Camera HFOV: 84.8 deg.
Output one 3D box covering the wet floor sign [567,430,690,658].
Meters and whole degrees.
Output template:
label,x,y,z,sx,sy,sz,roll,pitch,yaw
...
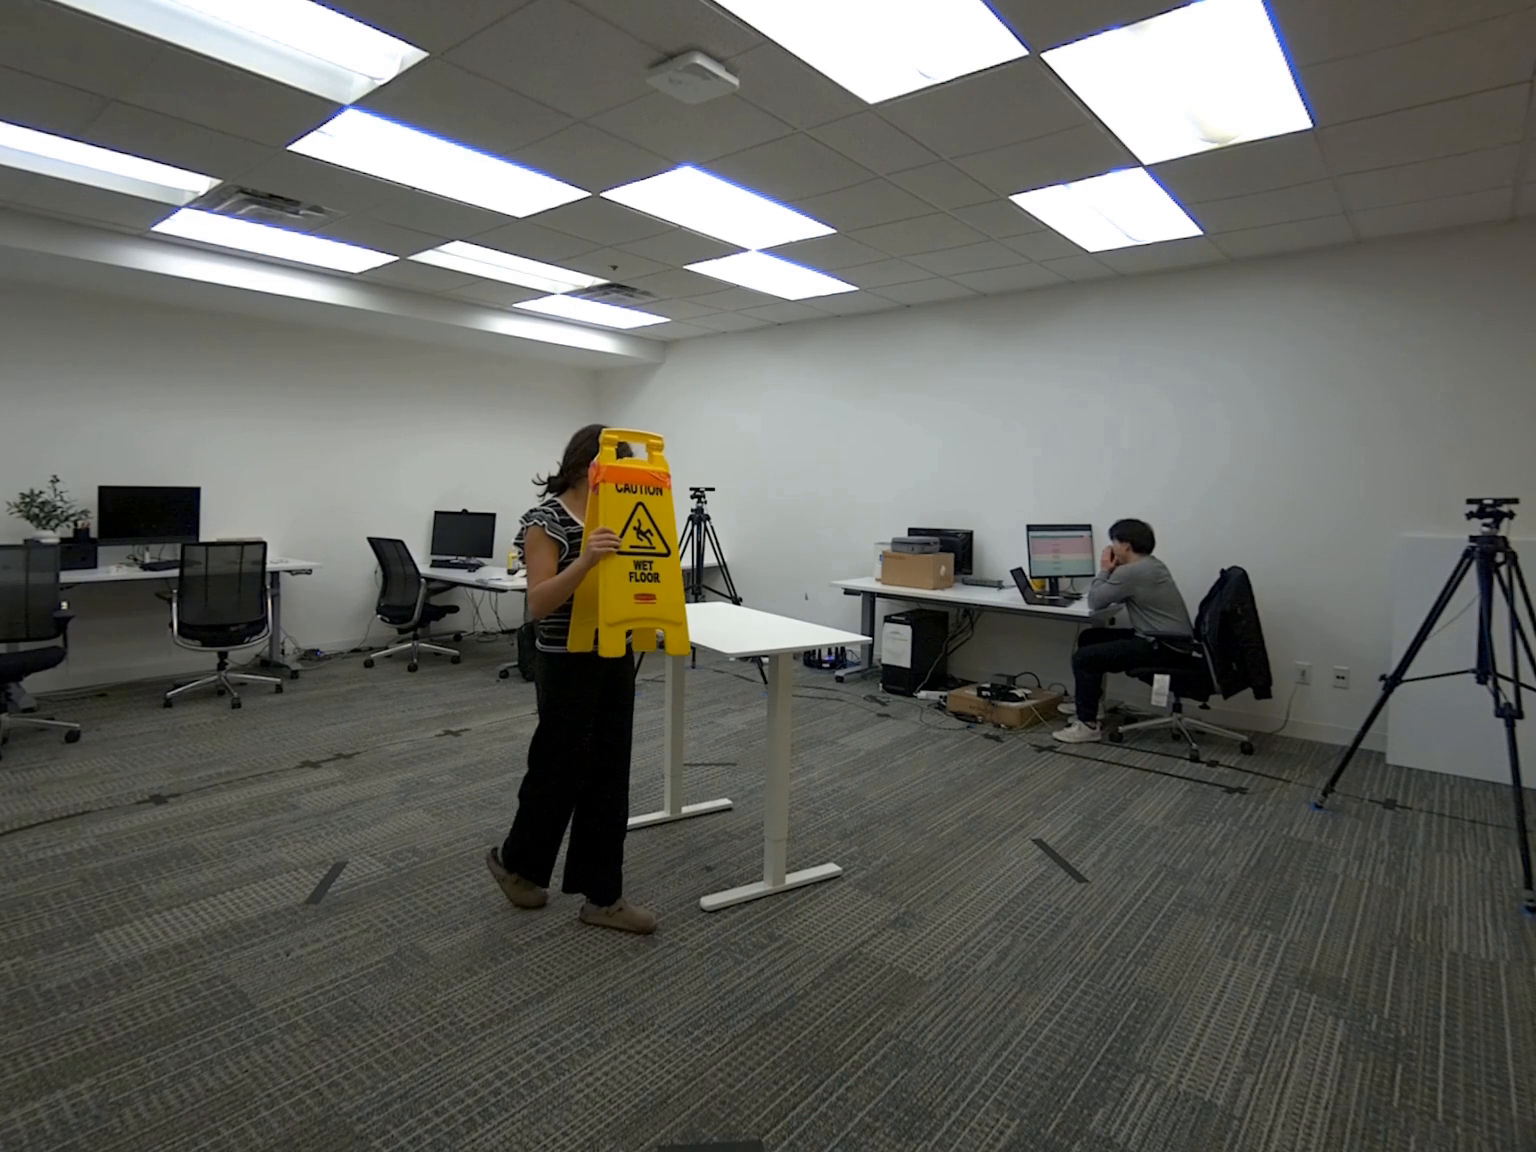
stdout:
label,x,y,z,sx,sy,sz,roll,pitch,yaw
wet floor sign,-0.423,-0.101,2.490,0.274,0.649,0.297,5,-5,-32
